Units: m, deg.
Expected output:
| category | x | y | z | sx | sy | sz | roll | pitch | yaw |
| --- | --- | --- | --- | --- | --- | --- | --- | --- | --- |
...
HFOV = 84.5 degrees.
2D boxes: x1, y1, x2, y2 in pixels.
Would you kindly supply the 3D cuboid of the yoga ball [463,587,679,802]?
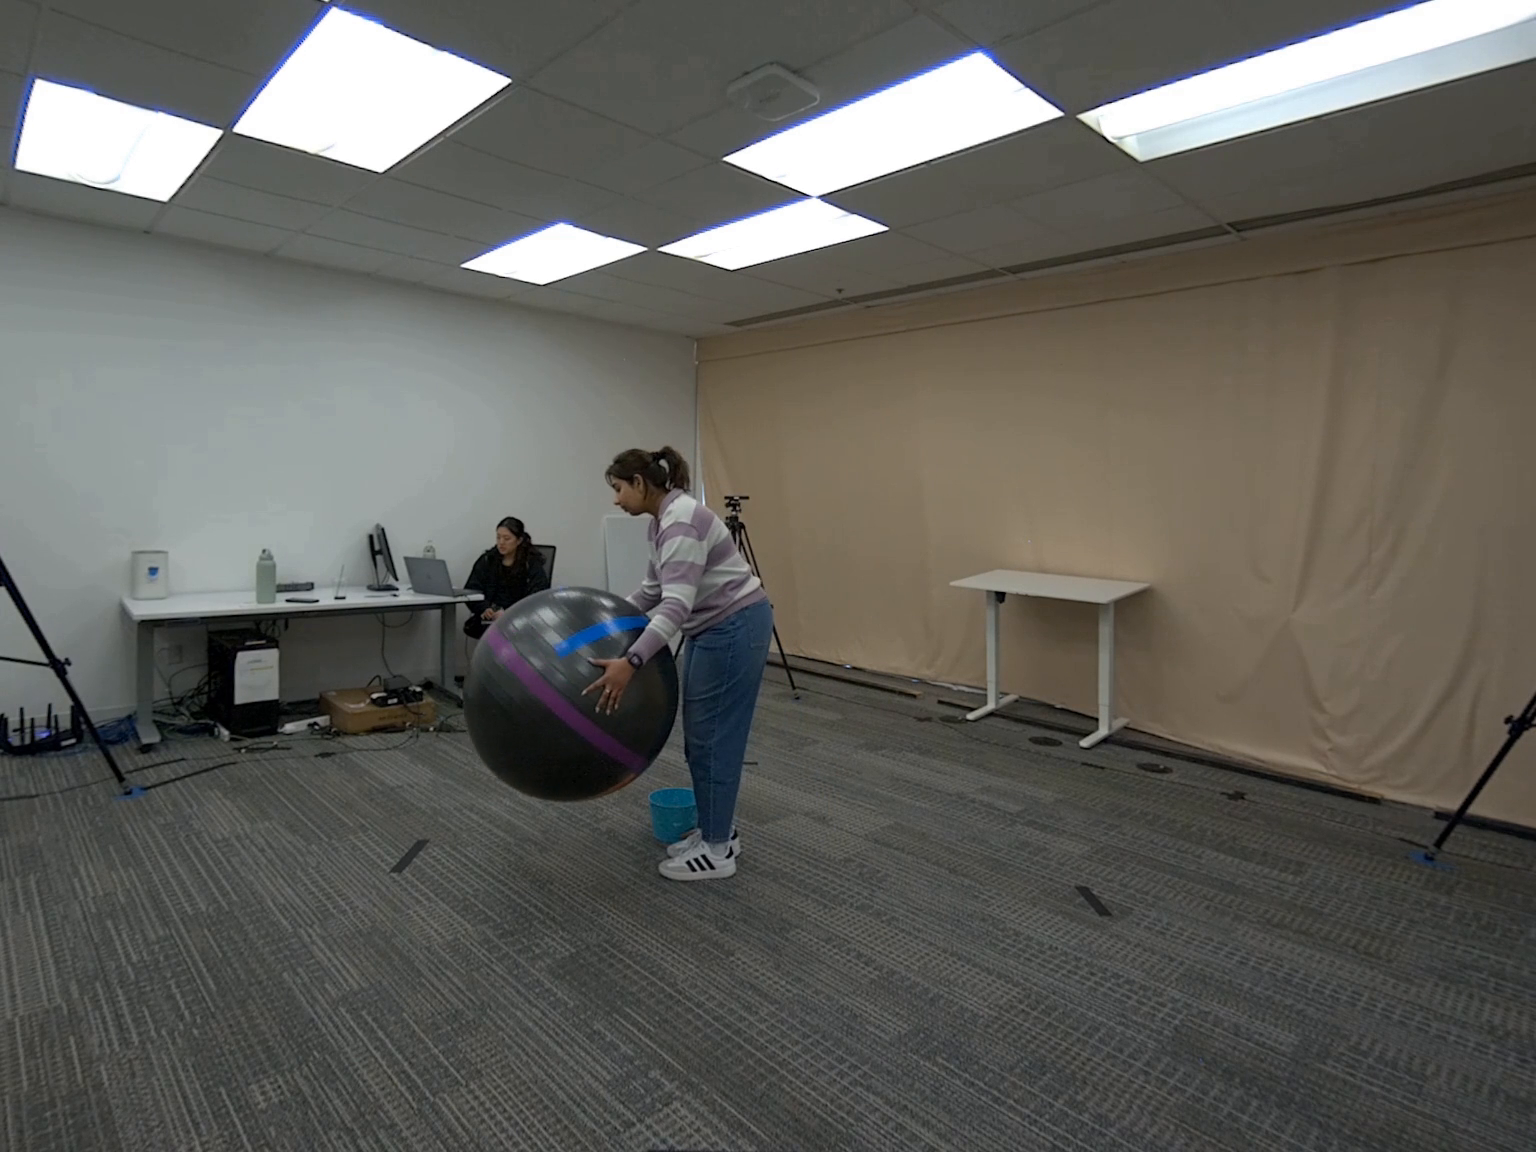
| category | x | y | z | sx | sy | sz | roll | pitch | yaw |
| --- | --- | --- | --- | --- | --- | --- | --- | --- | --- |
| yoga ball | -0.709 | 0.424 | 3.028 | 0.757 | 0.756 | 0.761 | 1 | 4 | -1 |
